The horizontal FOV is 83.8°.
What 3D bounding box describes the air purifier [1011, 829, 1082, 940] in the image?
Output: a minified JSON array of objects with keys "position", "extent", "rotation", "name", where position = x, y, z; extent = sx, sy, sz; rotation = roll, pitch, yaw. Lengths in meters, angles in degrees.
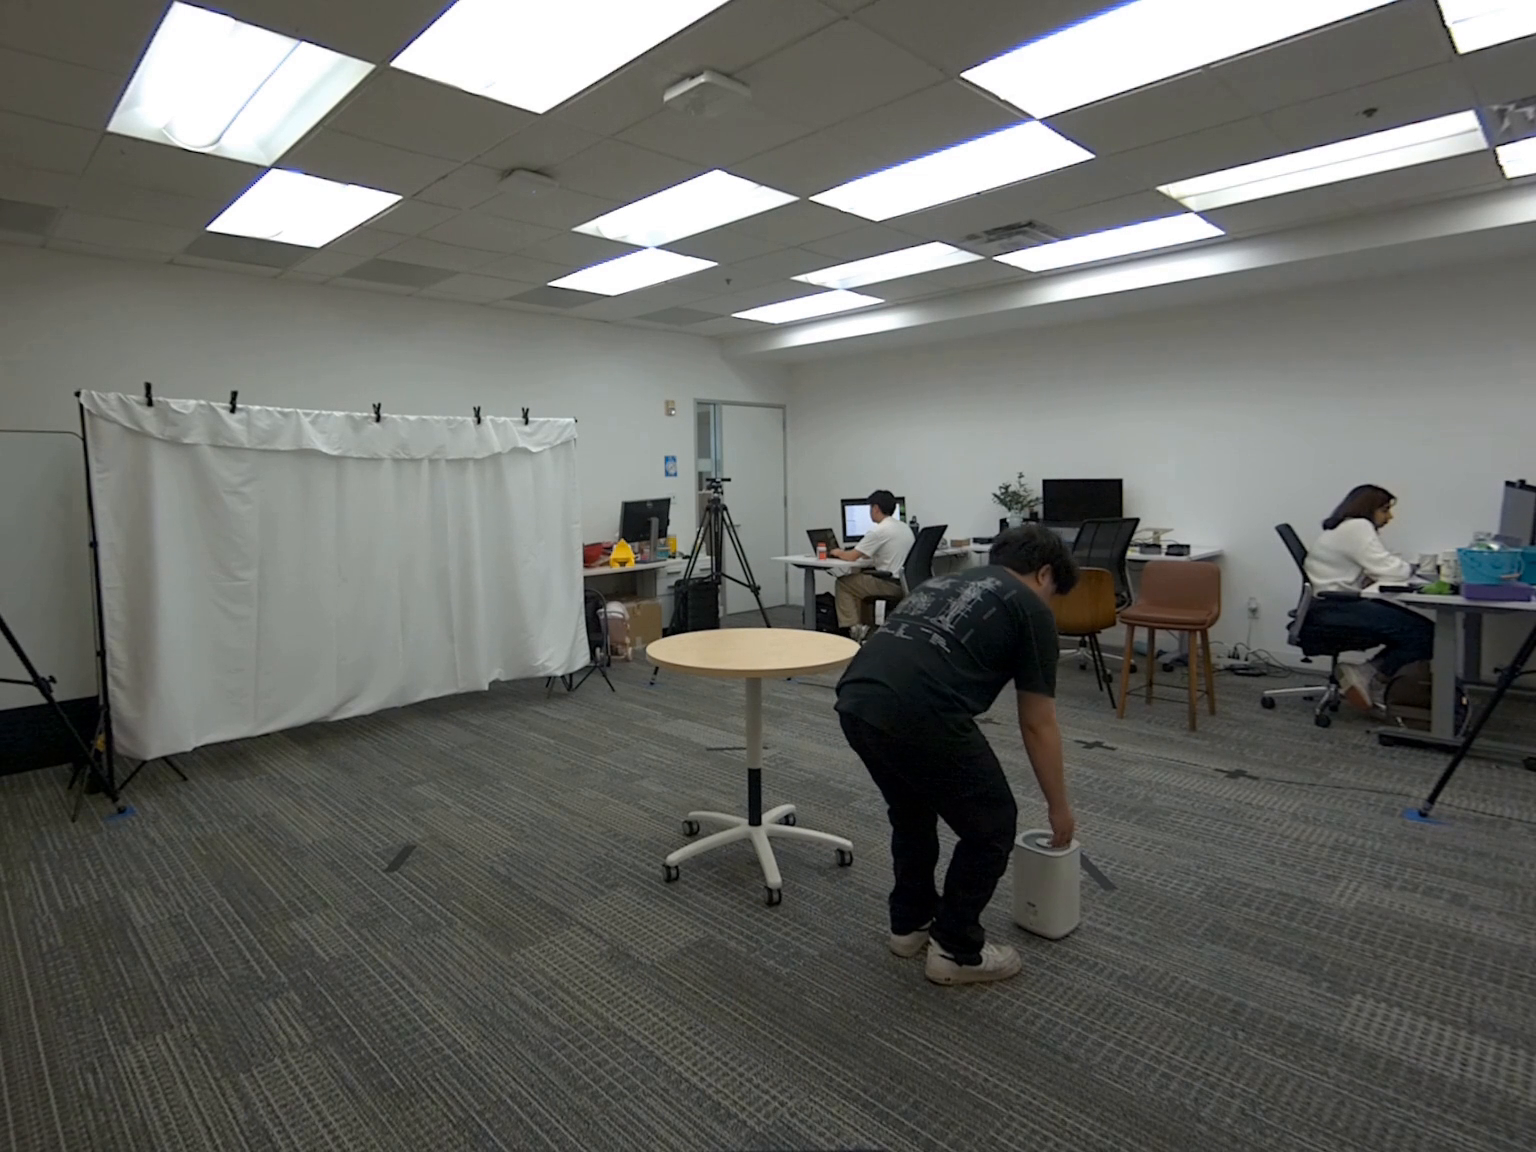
[{"position":[0.863,0.948,2.628],"extent":[0.167,0.264,0.176],"rotation":[-5,7,-43],"name":"air purifier"}]
